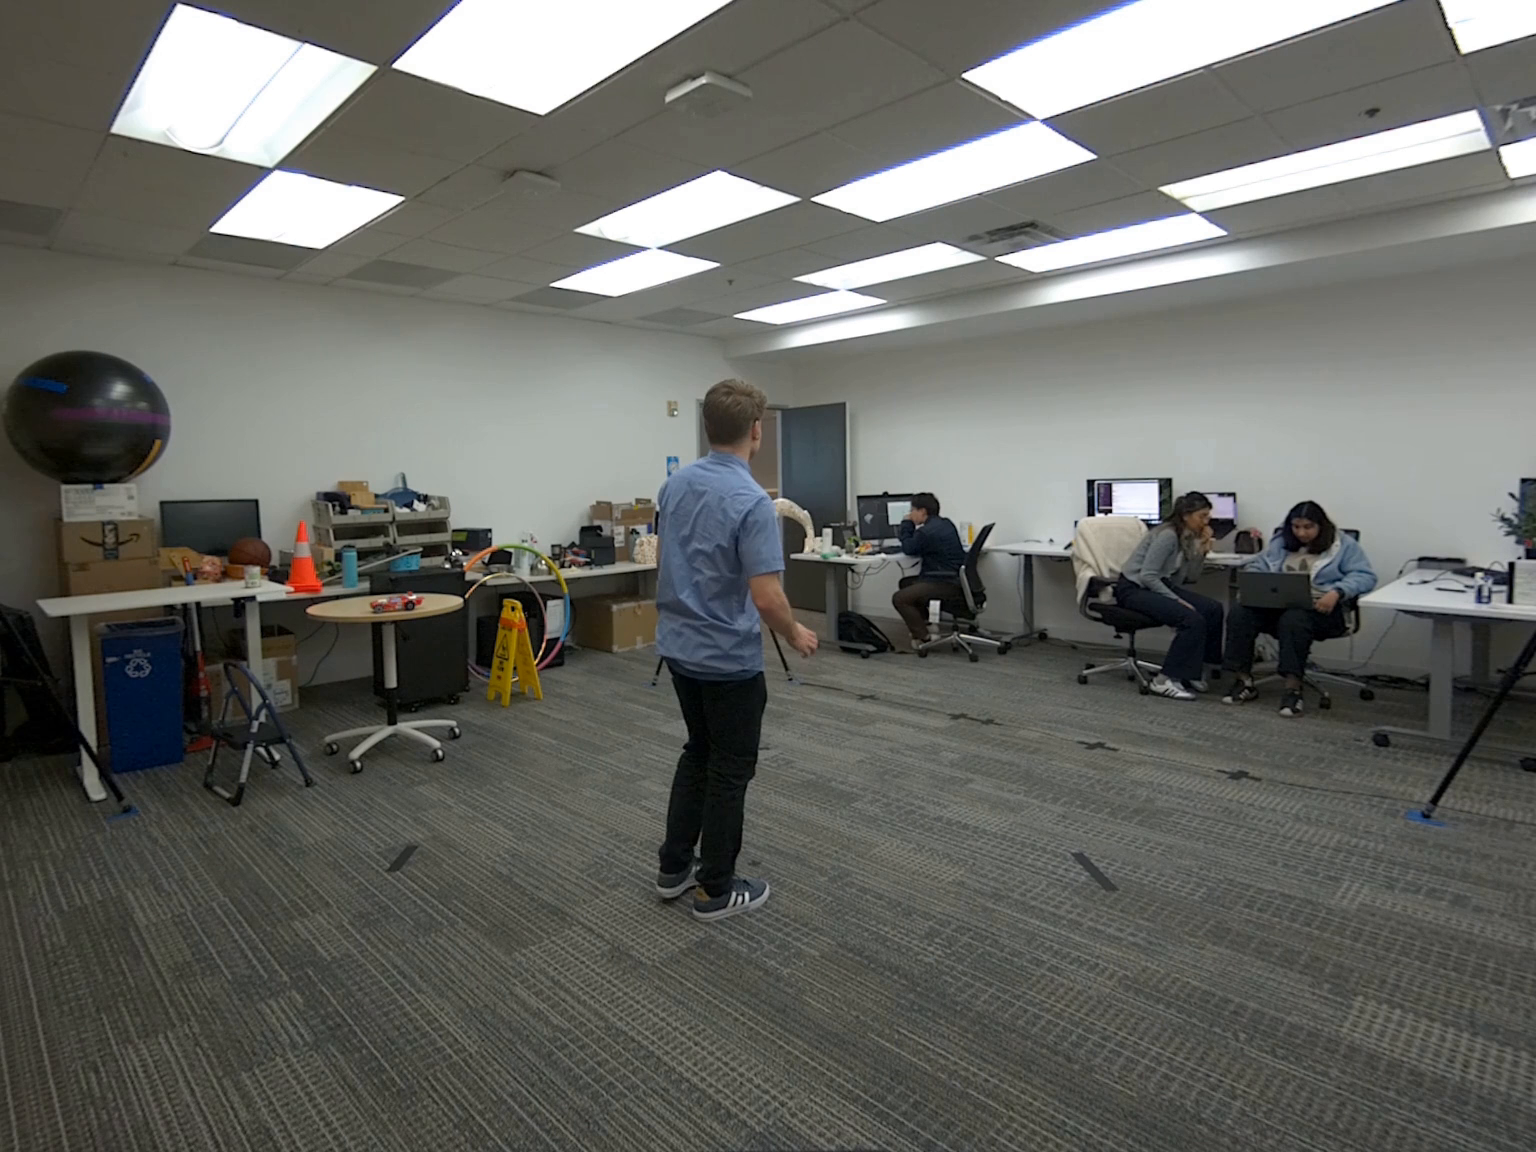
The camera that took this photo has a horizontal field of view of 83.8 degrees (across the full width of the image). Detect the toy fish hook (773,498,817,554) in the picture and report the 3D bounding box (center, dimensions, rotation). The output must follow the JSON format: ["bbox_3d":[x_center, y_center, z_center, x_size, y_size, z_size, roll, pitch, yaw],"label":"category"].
[{"bbox_3d":[0.050,-0.087,3.087,0.222,0.513,0.048,27,-37,-8],"label":"toy fish hook"}]
